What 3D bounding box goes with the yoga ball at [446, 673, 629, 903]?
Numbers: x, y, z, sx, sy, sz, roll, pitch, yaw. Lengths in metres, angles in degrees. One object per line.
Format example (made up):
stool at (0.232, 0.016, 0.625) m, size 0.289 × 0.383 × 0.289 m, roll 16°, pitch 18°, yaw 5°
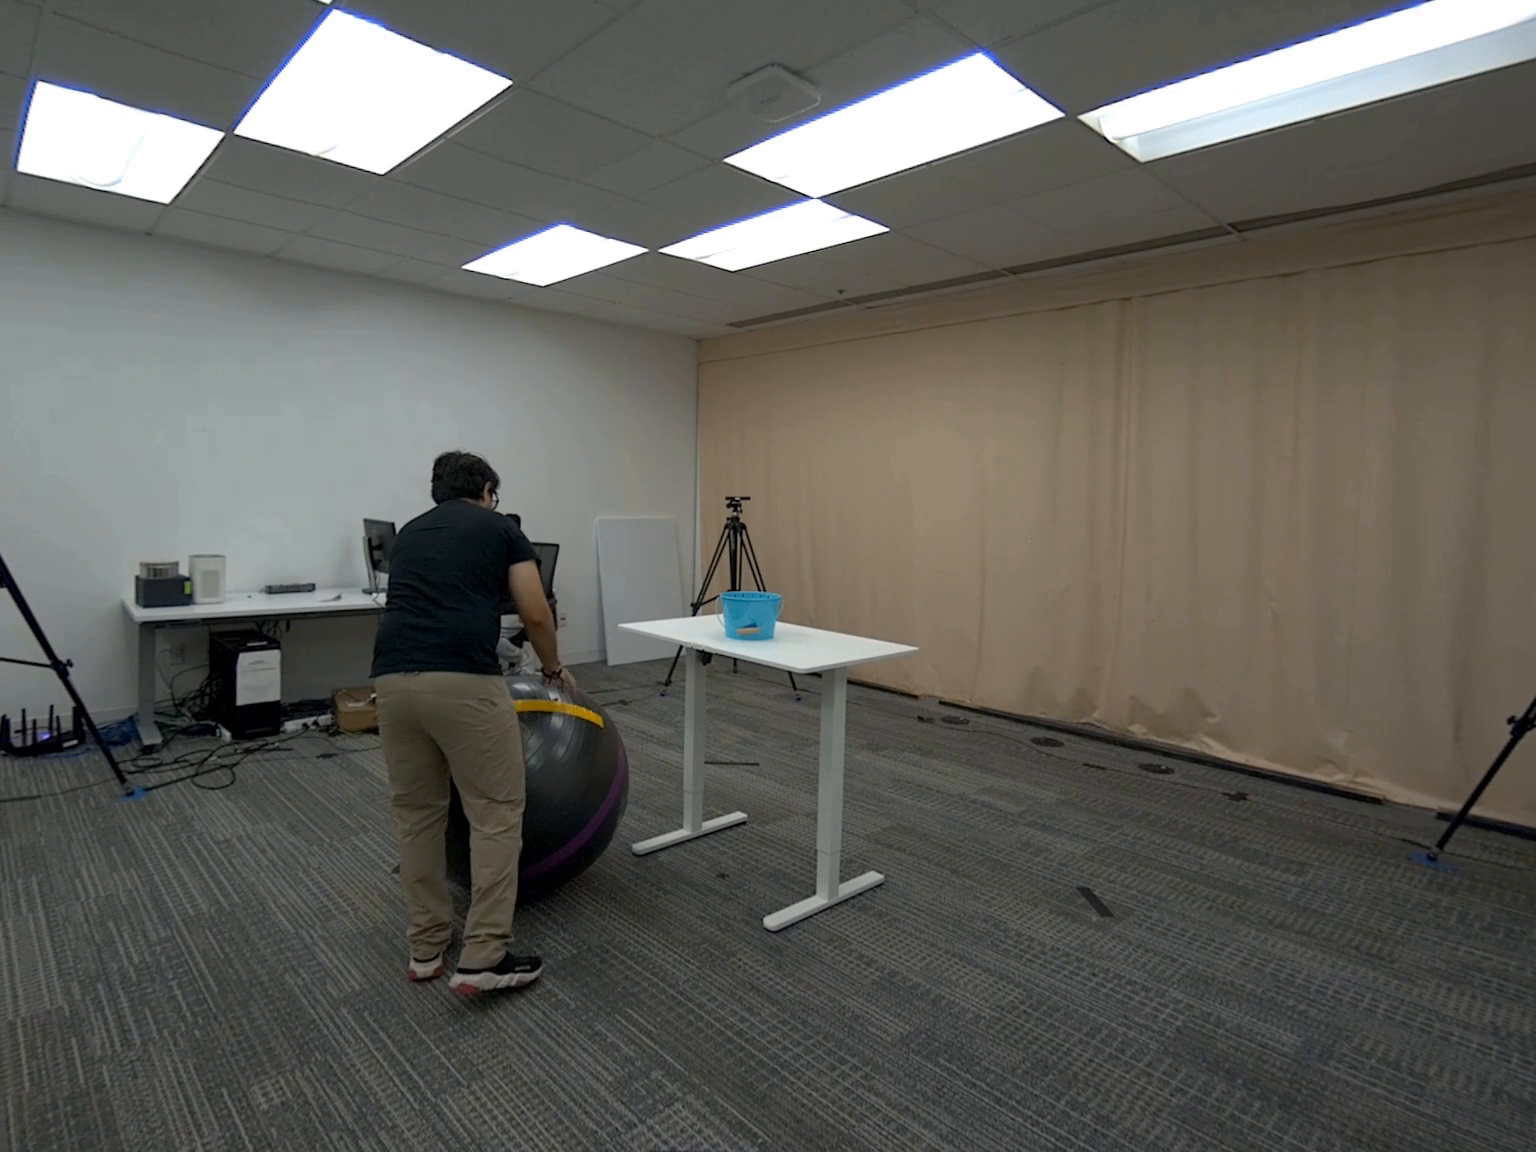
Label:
yoga ball at (-0.889, 0.743, 2.970) m, size 0.757 × 0.756 × 0.761 m, roll 1°, pitch 4°, yaw -1°
